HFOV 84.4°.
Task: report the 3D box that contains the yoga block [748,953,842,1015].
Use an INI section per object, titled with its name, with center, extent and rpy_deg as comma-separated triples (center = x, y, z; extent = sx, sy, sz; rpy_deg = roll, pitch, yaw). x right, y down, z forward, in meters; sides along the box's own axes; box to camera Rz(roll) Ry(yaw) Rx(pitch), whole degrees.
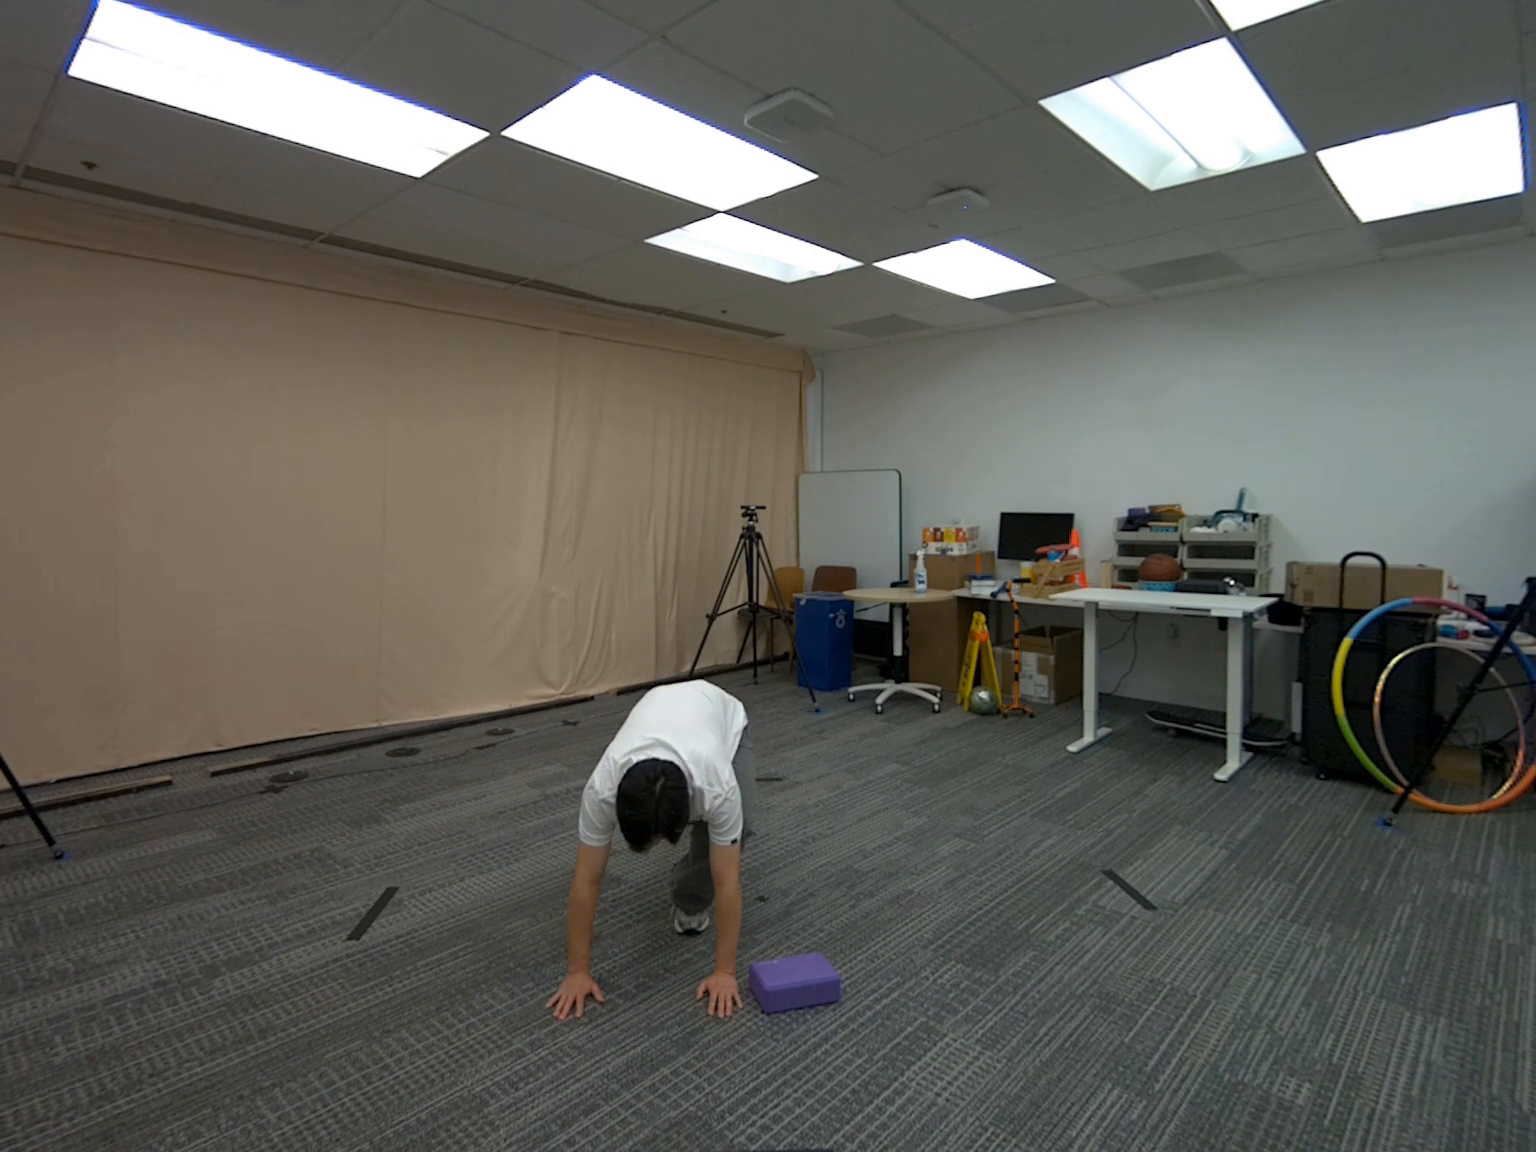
[yoga block]
center = 0.085, 1.157, 2.388
extent = 0.225, 0.076, 0.152
rpy_deg = -1, 4, -17
